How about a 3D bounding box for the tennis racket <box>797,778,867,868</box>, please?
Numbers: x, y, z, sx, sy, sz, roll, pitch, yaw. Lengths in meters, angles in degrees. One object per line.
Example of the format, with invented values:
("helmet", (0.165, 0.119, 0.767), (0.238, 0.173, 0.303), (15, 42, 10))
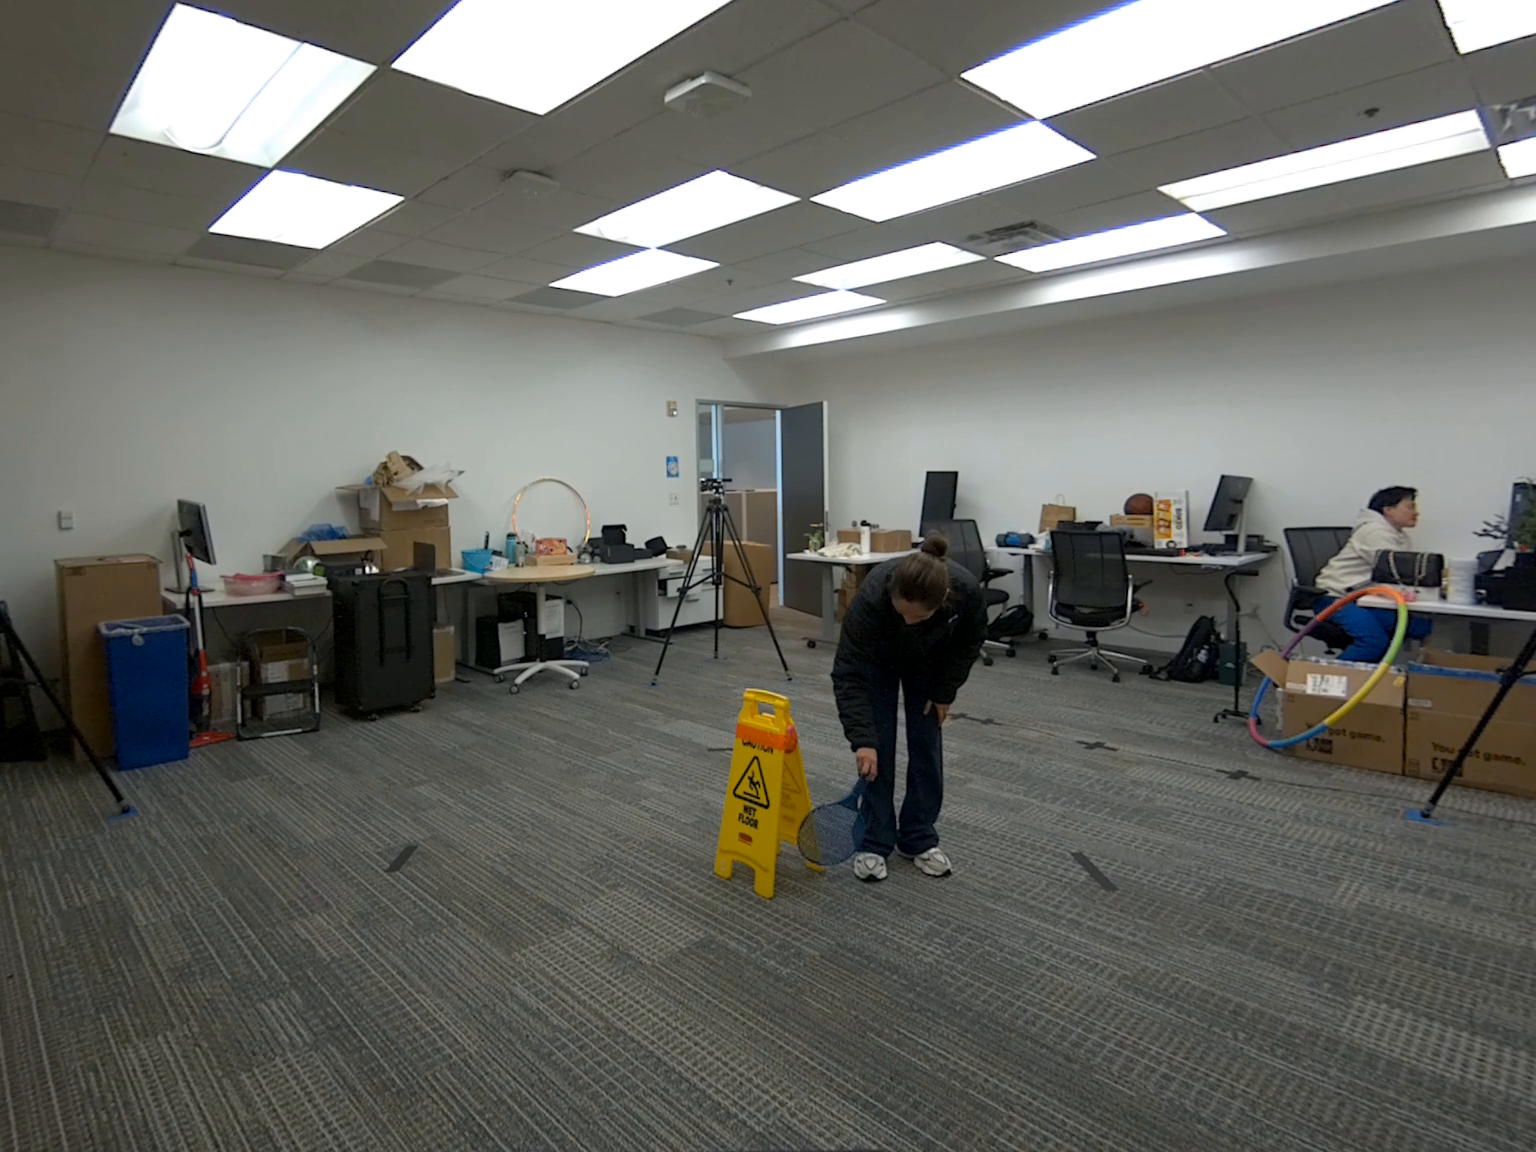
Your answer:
("tennis racket", (0.244, 0.804, 2.848), (0.213, 0.429, 0.032), (24, 18, -3))
